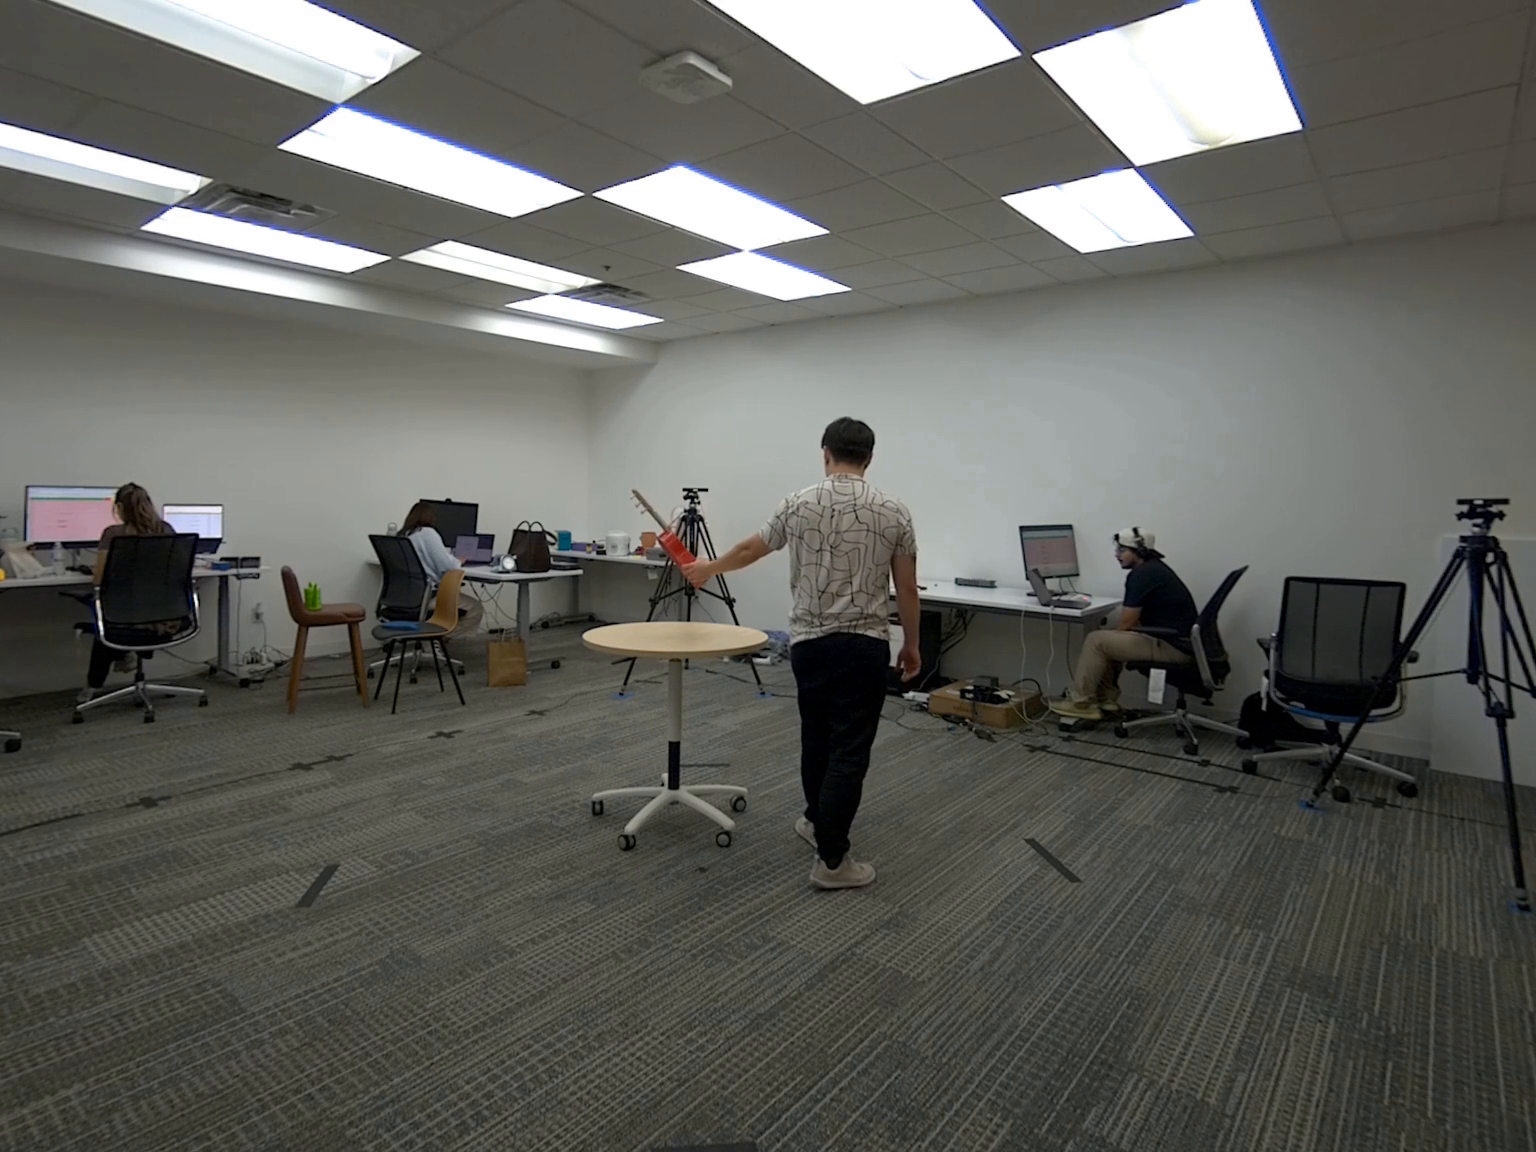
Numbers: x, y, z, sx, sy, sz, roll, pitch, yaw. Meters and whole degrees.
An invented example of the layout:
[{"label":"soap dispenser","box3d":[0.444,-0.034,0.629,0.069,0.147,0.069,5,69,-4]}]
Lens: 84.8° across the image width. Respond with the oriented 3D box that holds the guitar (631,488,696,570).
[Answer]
[{"label":"guitar","box3d":[-0.443,-0.166,3.631,0.070,0.504,0.191,-40,-9,-10]}]
